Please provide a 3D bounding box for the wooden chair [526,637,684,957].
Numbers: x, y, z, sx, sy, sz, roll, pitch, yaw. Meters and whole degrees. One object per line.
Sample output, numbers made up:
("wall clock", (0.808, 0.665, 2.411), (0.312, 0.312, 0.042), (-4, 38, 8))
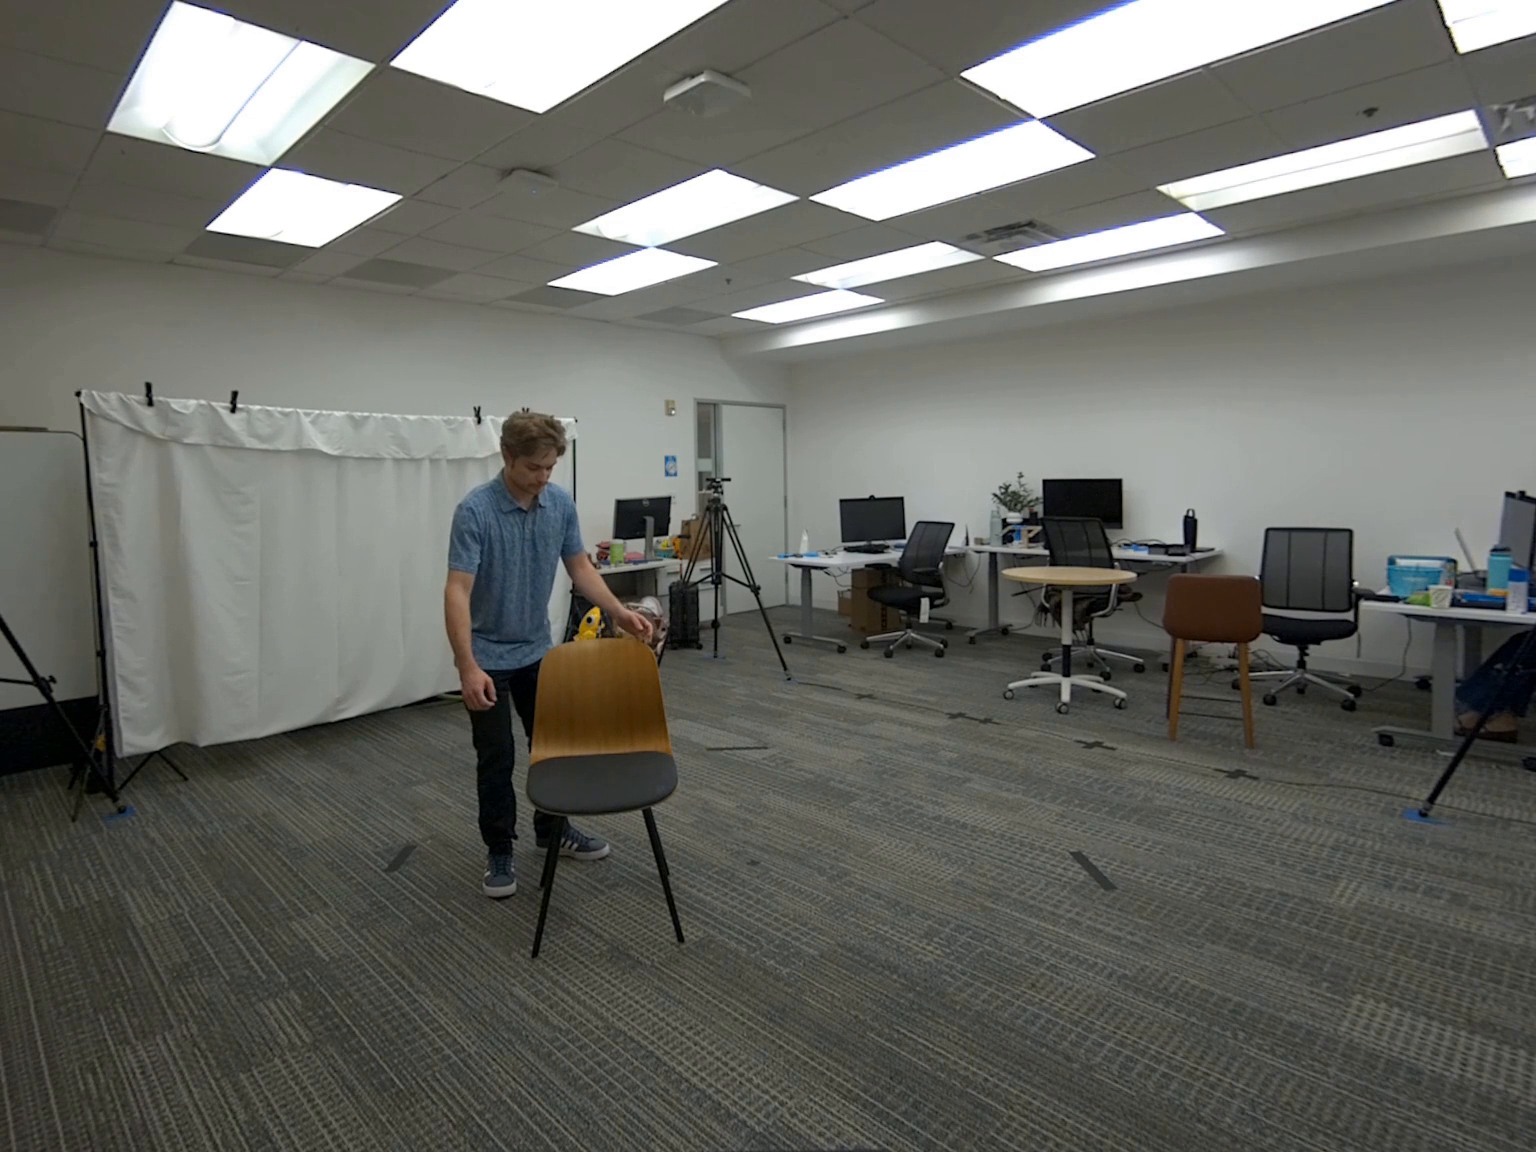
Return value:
("wooden chair", (-0.517, 0.669, 2.718), (0.473, 0.877, 0.529), (-1, 0, -12))
